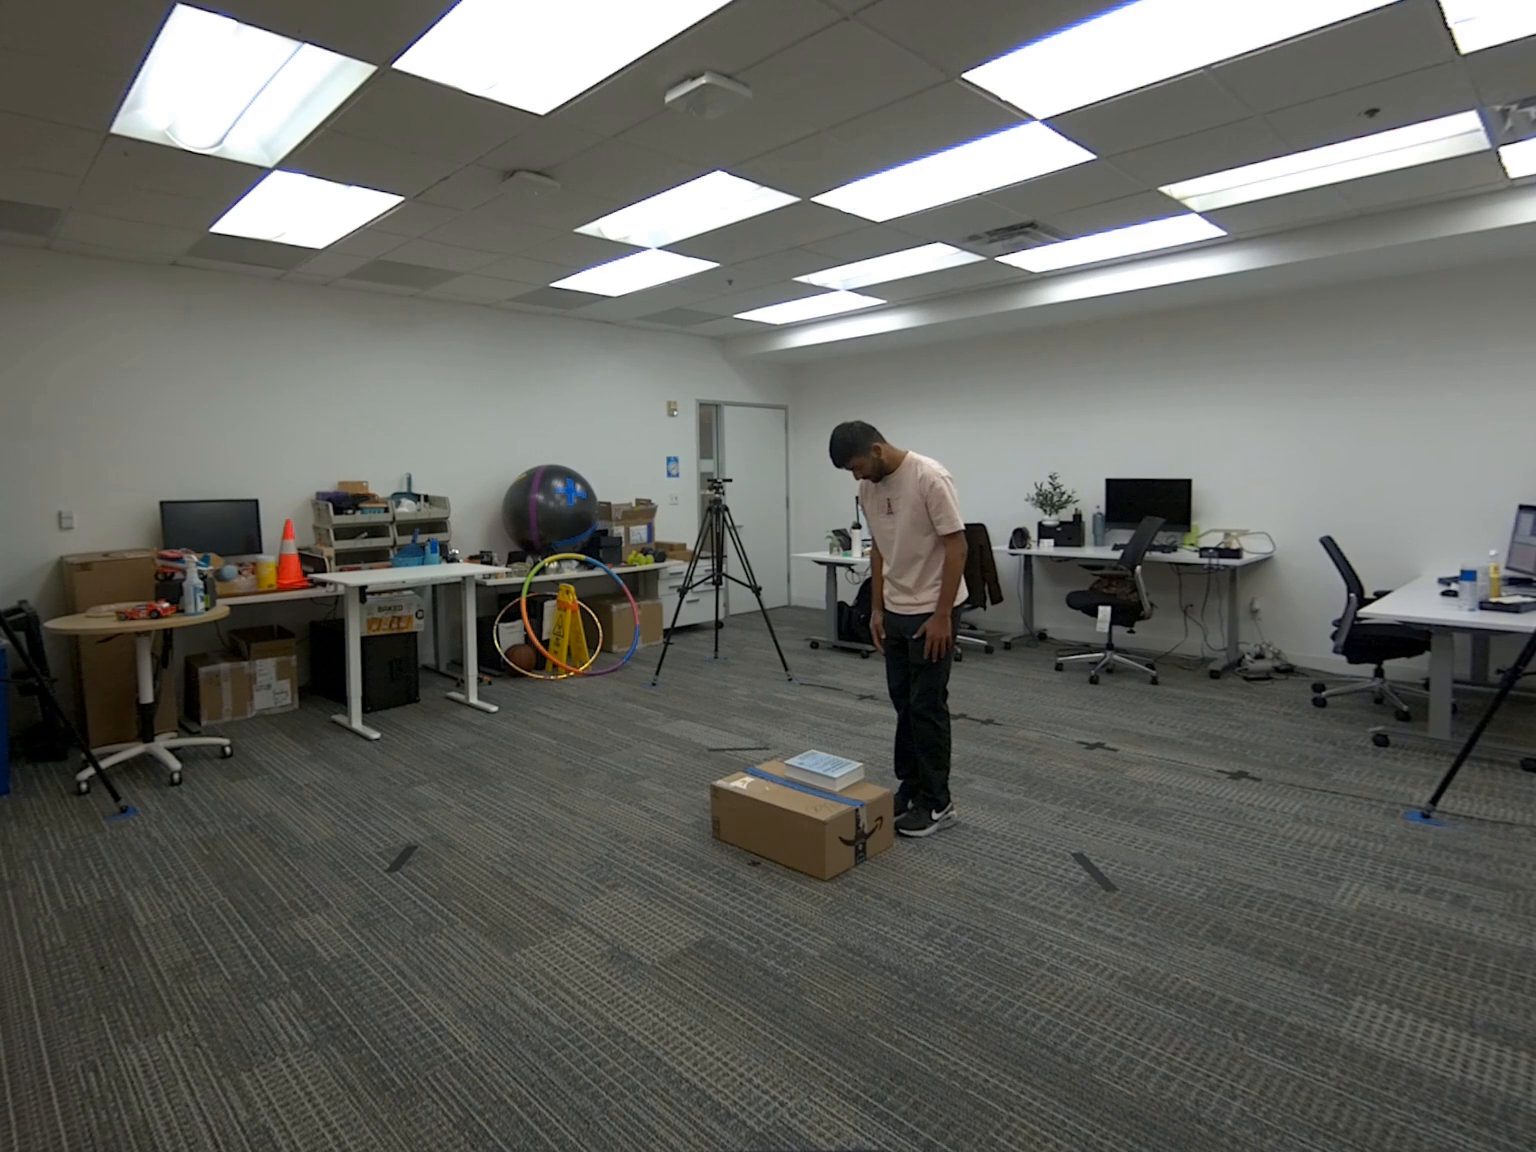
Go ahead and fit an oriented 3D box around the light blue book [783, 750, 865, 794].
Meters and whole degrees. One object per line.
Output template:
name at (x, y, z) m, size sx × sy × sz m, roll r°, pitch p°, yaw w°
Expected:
light blue book at (0.221, 0.768, 3.382) m, size 0.269 × 0.058 × 0.187 m, roll 5°, pitch 11°, yaw 43°
